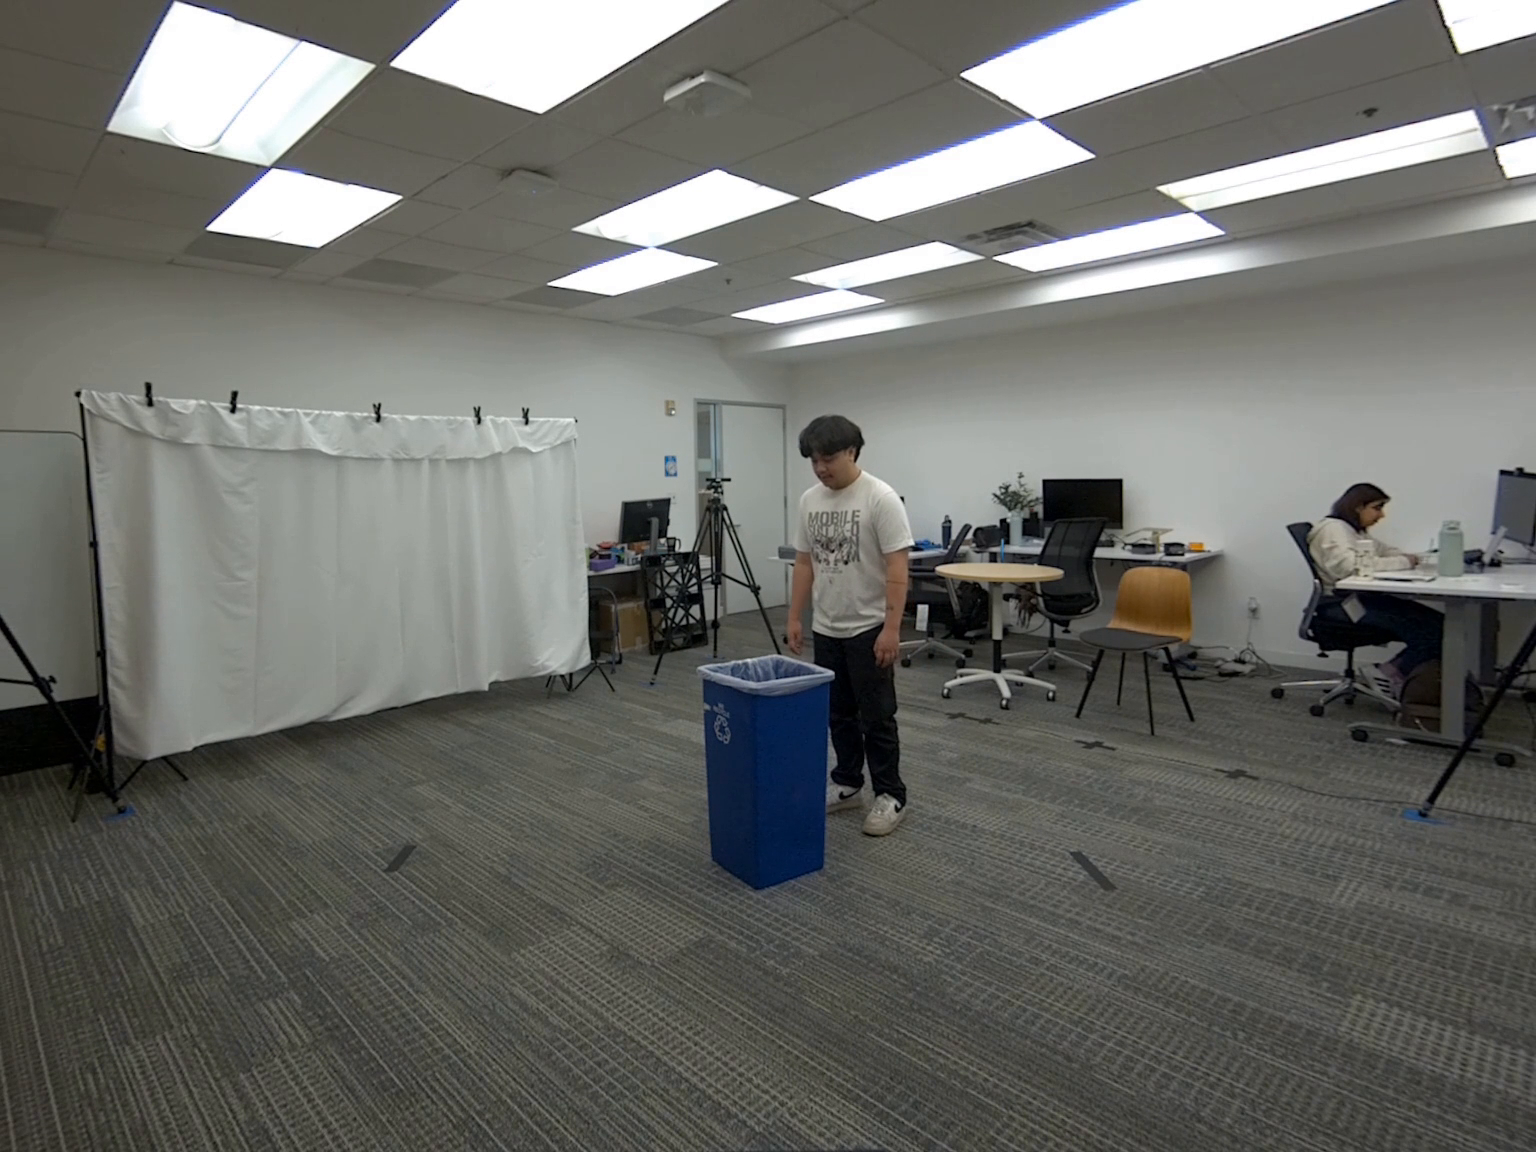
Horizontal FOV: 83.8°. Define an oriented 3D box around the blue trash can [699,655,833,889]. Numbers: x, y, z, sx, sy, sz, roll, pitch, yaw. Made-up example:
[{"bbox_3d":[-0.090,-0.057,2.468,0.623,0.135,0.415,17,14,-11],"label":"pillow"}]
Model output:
[{"bbox_3d":[0.000,0.686,3.069,0.368,0.711,0.385,-4,5,-35],"label":"blue trash can"}]
